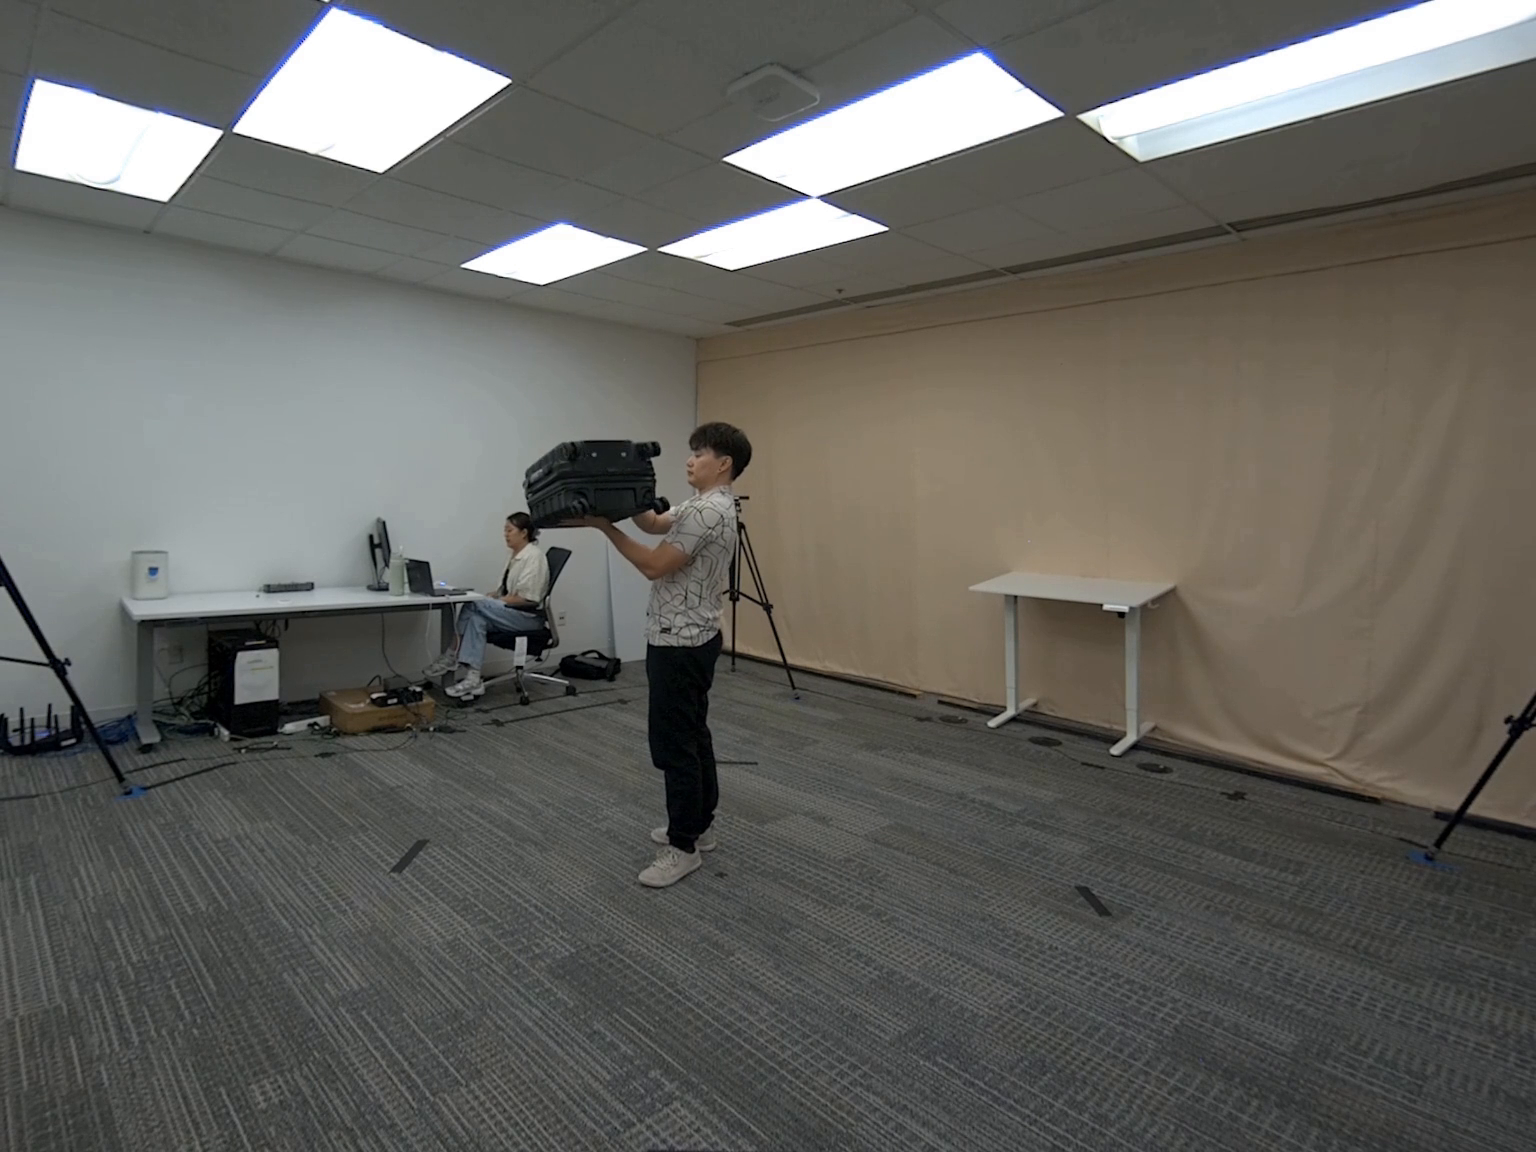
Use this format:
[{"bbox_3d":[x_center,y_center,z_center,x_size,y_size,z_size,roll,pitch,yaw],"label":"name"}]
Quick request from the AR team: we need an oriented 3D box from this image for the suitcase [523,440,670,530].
[{"bbox_3d":[-0.658,-0.326,3.045,0.368,0.249,0.559,-5,-2,-32],"label":"suitcase"}]
